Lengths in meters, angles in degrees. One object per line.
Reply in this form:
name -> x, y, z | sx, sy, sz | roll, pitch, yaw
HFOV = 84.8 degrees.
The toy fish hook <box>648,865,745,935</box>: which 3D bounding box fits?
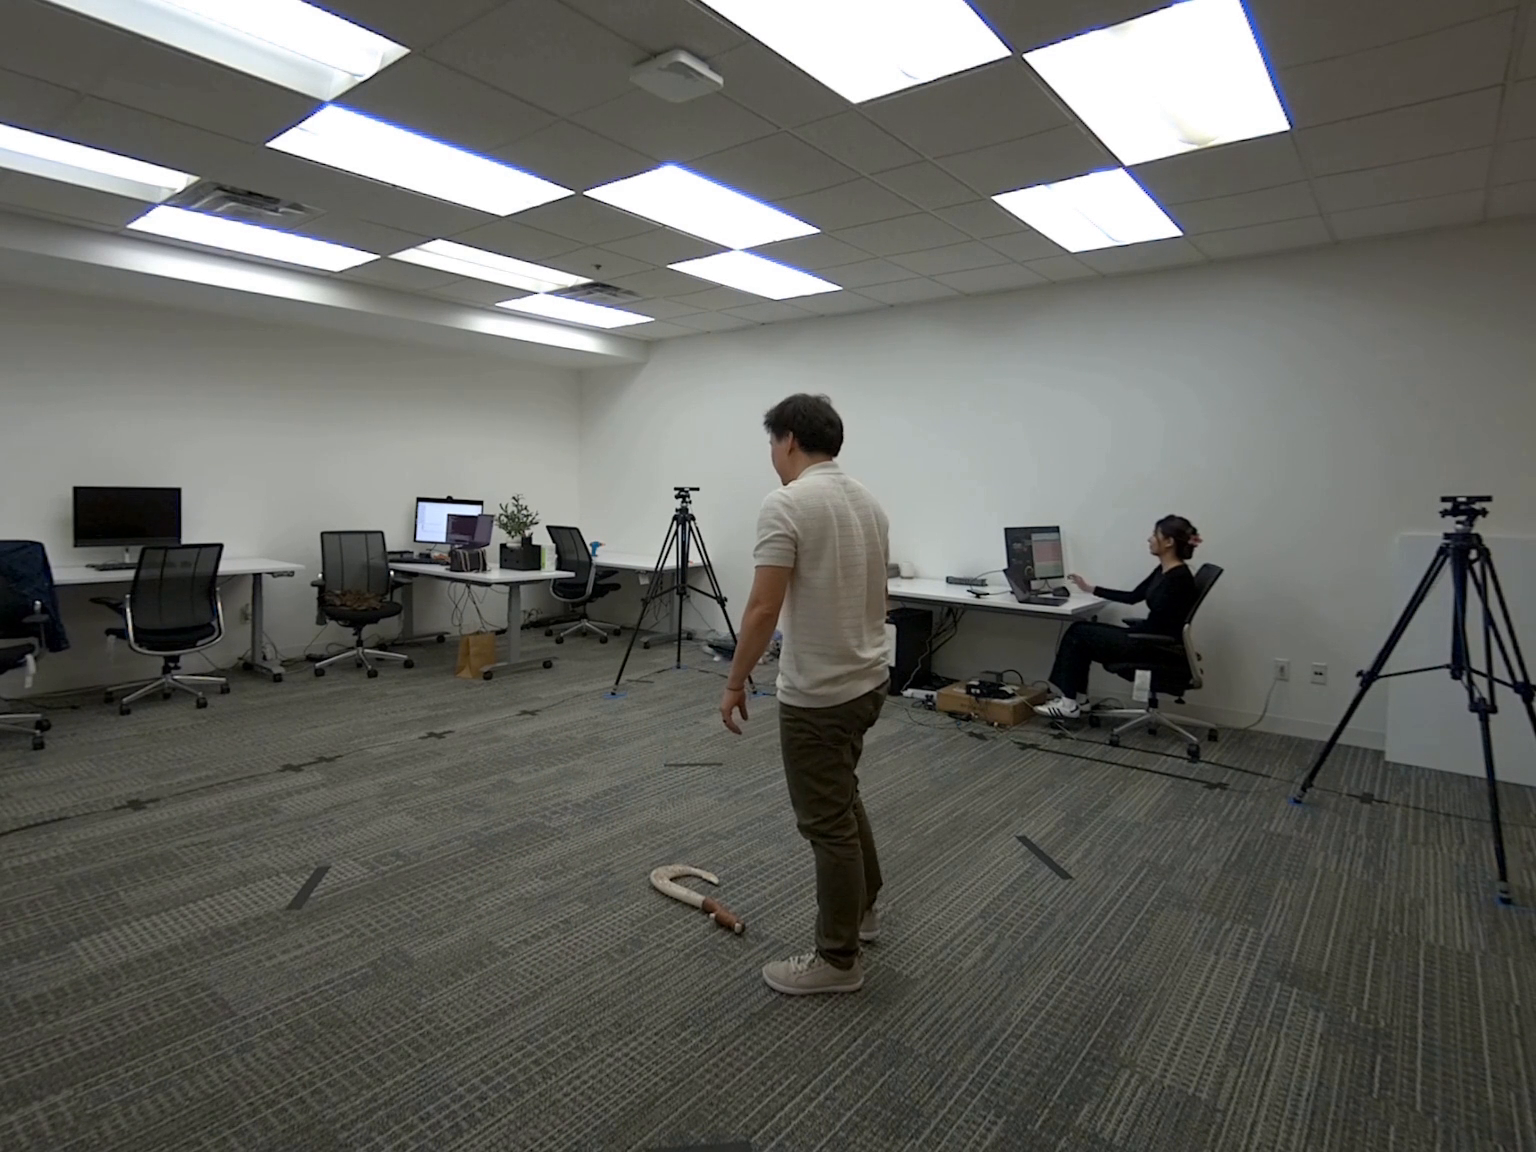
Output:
toy fish hook -> -0.211, 1.066, 2.861 | 0.218, 0.048, 0.524 | -4, 8, -39
